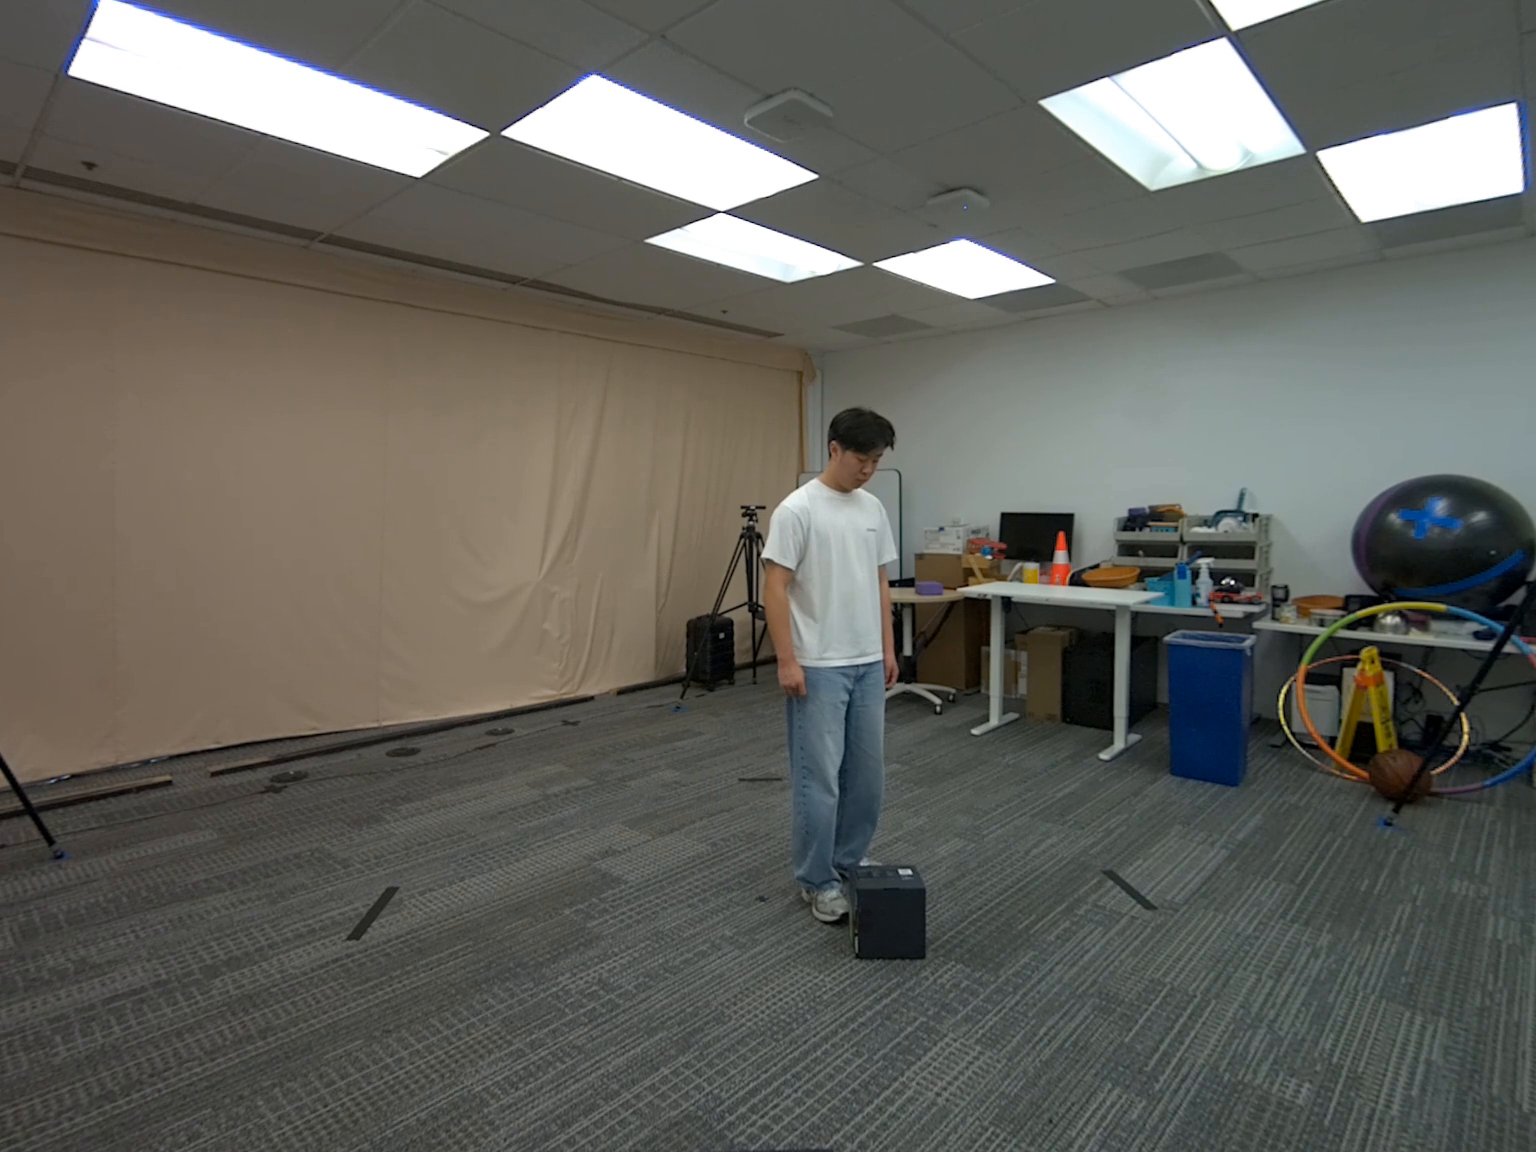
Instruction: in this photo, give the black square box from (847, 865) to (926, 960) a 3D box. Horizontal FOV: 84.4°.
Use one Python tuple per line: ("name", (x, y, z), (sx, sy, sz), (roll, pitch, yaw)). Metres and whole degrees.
("black square box", (0.370, 1.045, 2.646), (0.217, 0.227, 0.156), (0, 5, -1))
